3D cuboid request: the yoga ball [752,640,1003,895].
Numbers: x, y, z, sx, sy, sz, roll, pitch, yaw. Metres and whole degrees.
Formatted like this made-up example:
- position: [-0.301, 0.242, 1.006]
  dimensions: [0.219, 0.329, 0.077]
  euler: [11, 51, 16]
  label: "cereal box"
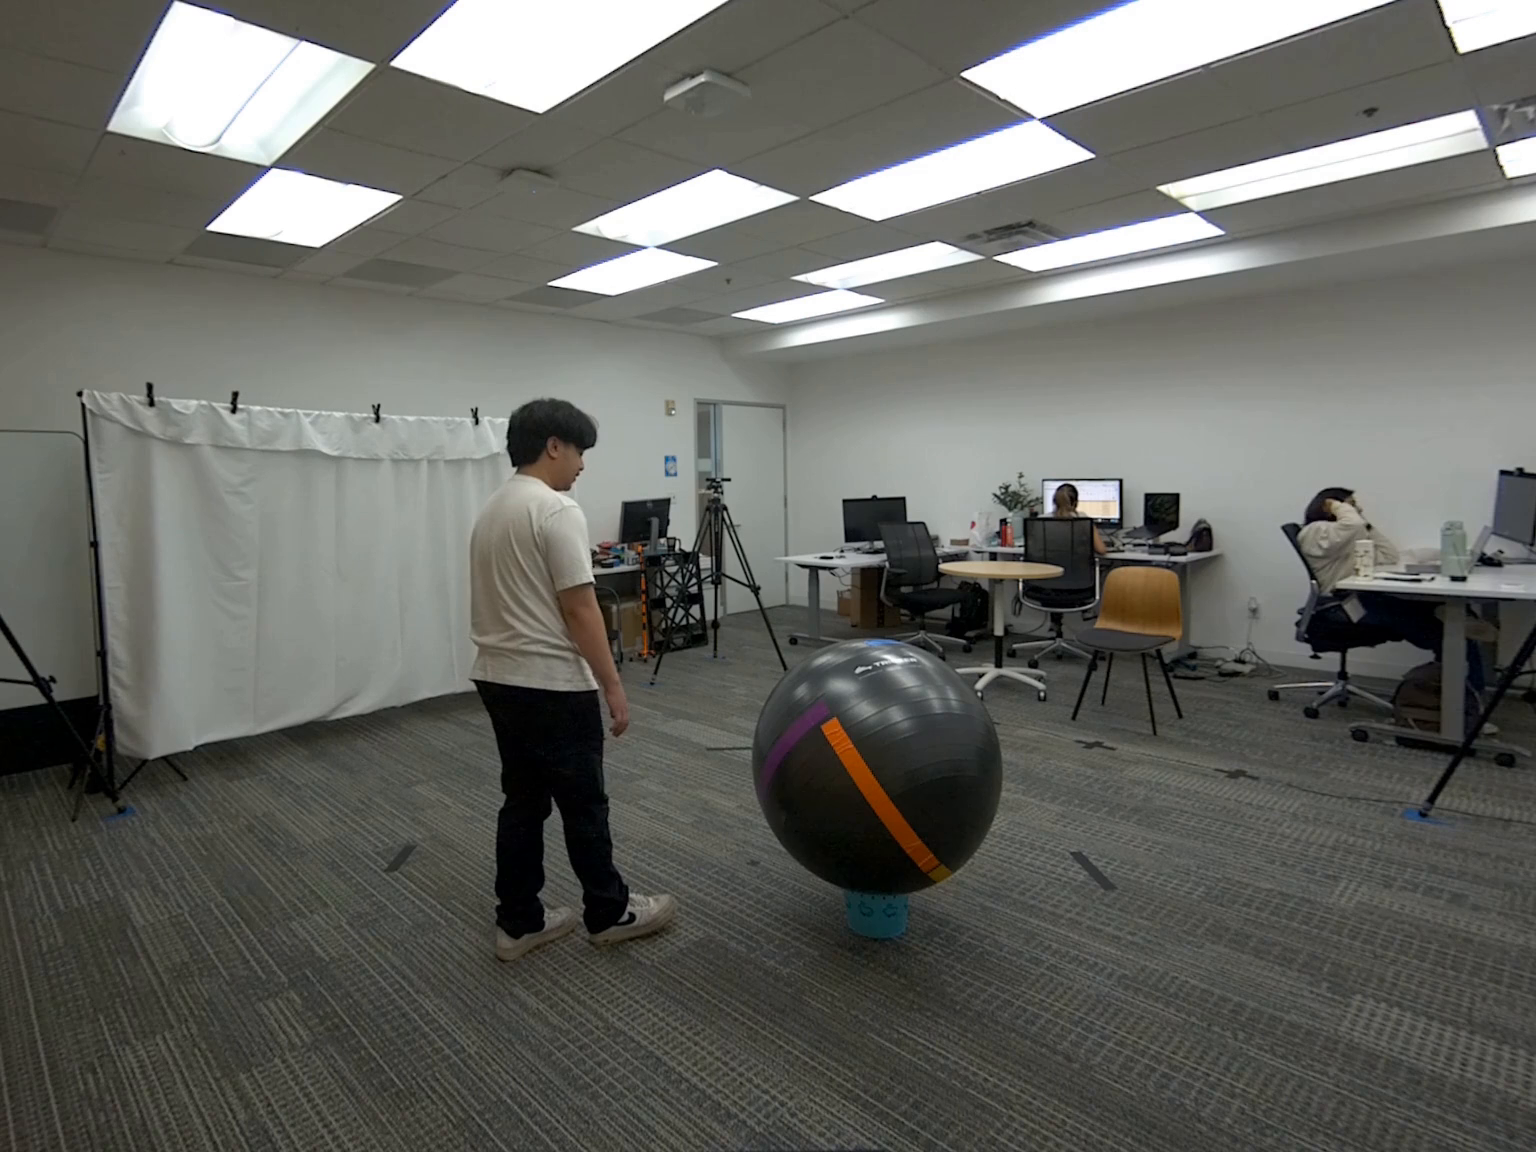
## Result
- position: [0.330, 0.579, 2.640]
  dimensions: [0.757, 0.755, 0.762]
  euler: [-1, 5, -2]
  label: "yoga ball"
